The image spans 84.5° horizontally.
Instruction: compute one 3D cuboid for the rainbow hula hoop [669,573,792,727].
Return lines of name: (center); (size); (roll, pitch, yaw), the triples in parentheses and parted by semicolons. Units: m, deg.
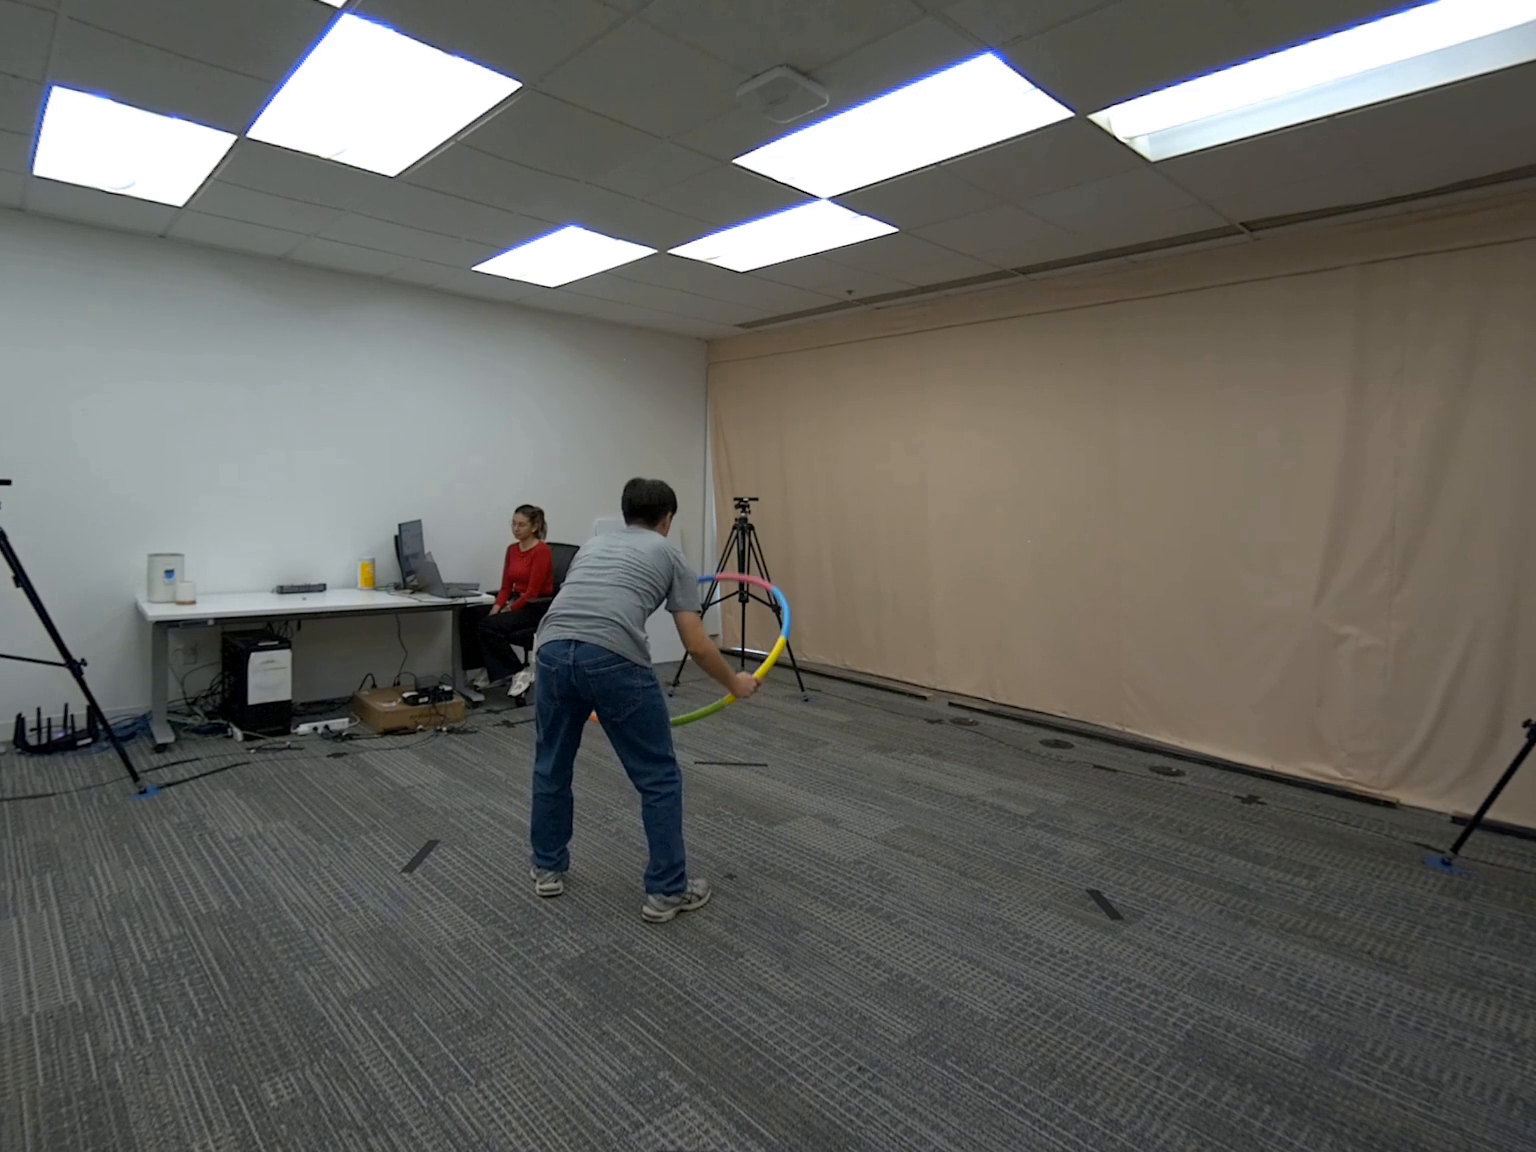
rainbow hula hoop: (-0.394, 0.288, 3.487); (0.983, 0.035, 0.998); (-16, 31, 8)
